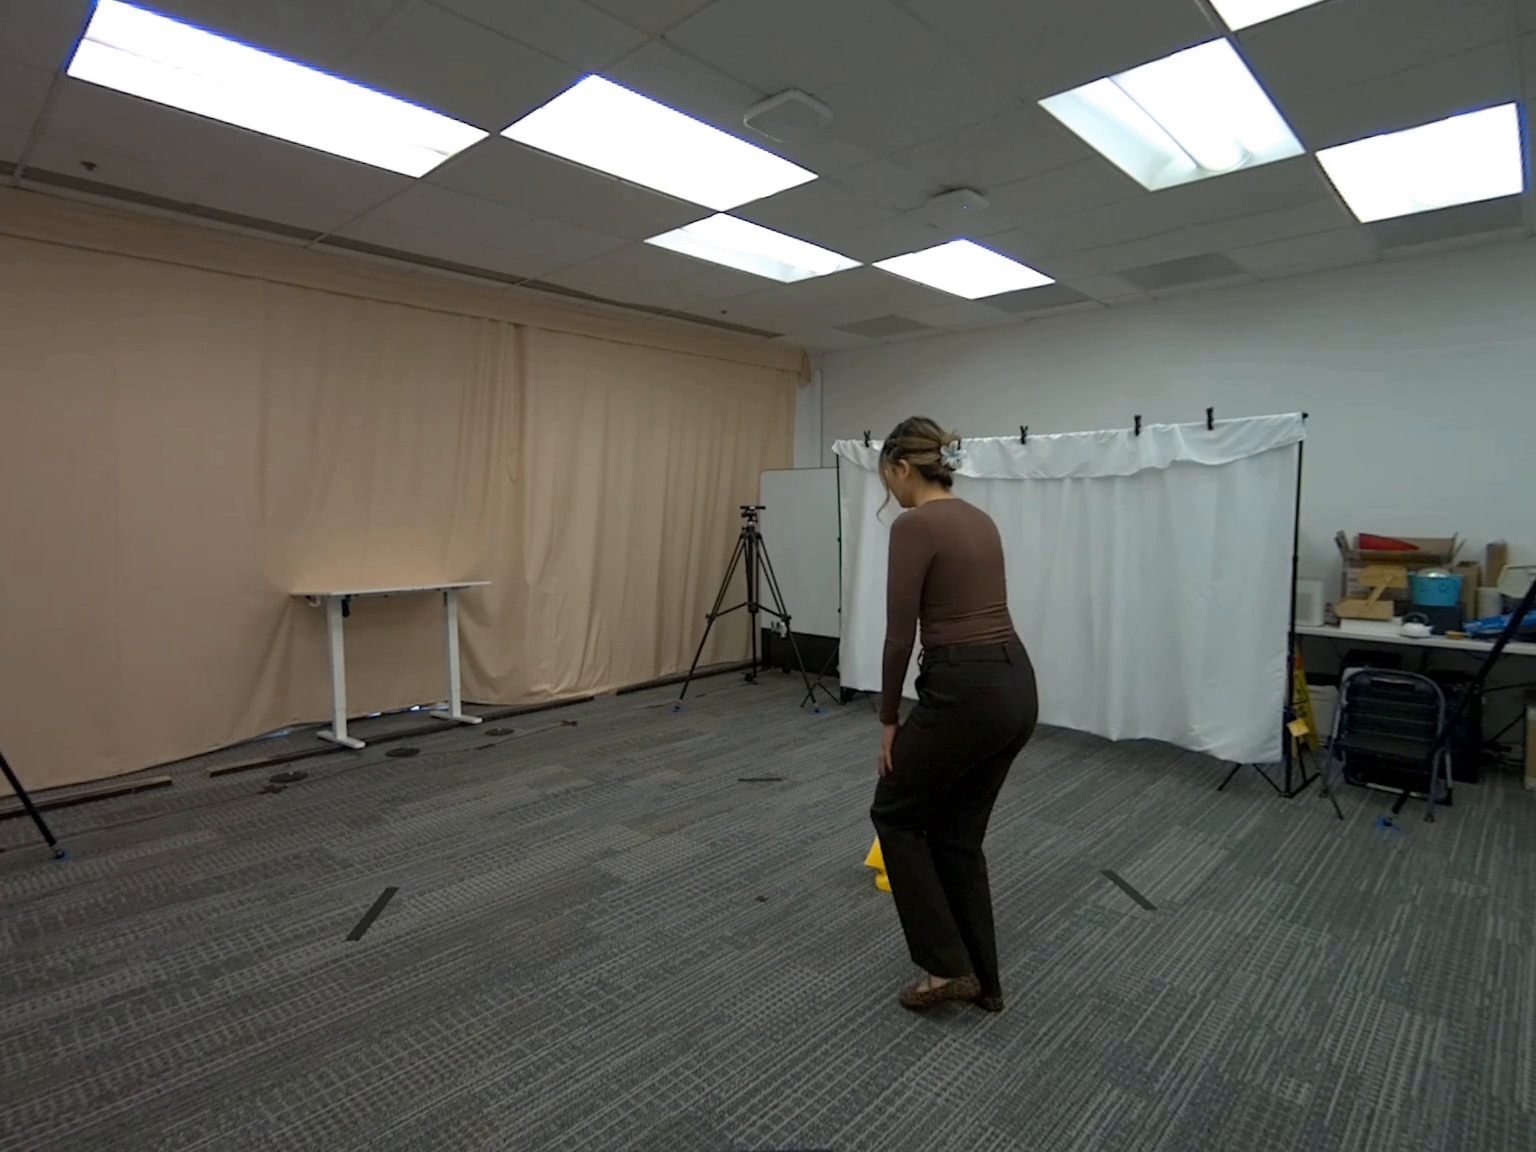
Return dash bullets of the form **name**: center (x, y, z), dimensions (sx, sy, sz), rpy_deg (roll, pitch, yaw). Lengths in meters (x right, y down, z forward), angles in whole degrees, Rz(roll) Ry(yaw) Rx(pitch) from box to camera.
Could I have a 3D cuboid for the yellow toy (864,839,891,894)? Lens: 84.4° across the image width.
- **yellow toy**: center (0.487, 1.018, 3.113), dimensions (0.199, 0.230, 0.199), rpy_deg (2, 4, 31)
